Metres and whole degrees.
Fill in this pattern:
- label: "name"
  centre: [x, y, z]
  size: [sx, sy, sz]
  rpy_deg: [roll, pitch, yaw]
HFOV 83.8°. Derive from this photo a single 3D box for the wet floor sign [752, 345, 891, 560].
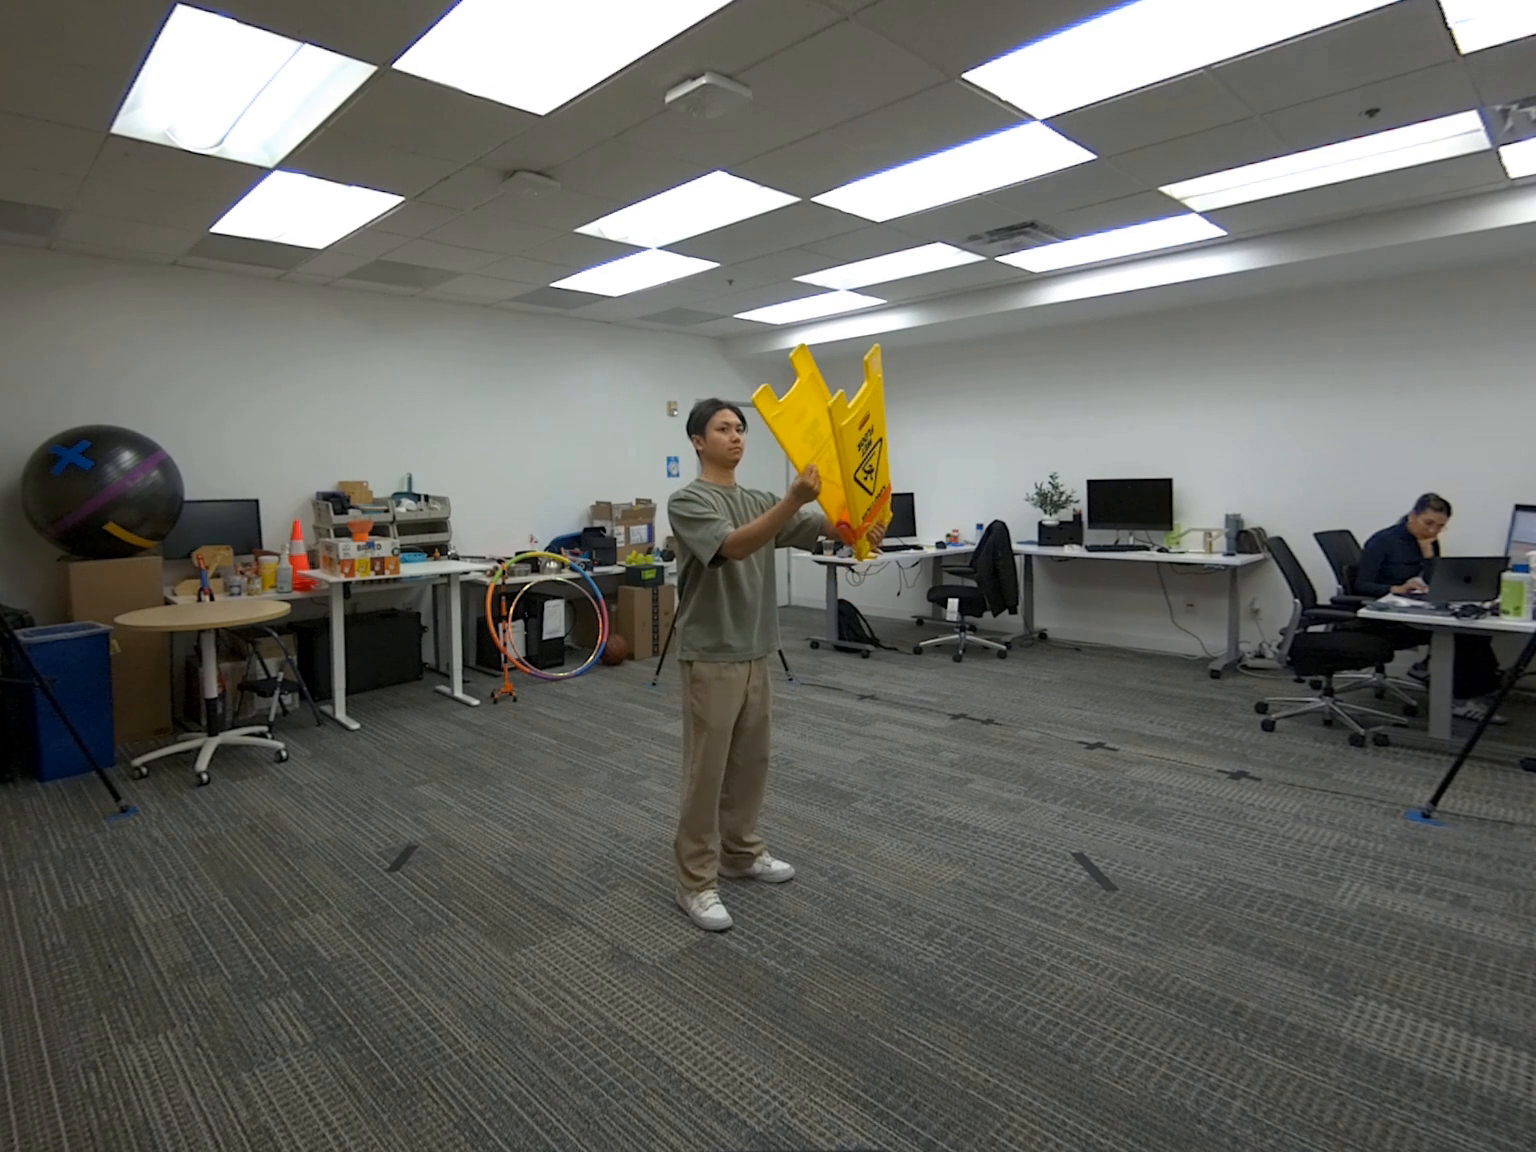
- label: "wet floor sign"
  centre: [0.237, -0.329, 2.502]
  size: [0.300, 0.623, 0.283]
  rpy_deg: [14, 53, 39]
